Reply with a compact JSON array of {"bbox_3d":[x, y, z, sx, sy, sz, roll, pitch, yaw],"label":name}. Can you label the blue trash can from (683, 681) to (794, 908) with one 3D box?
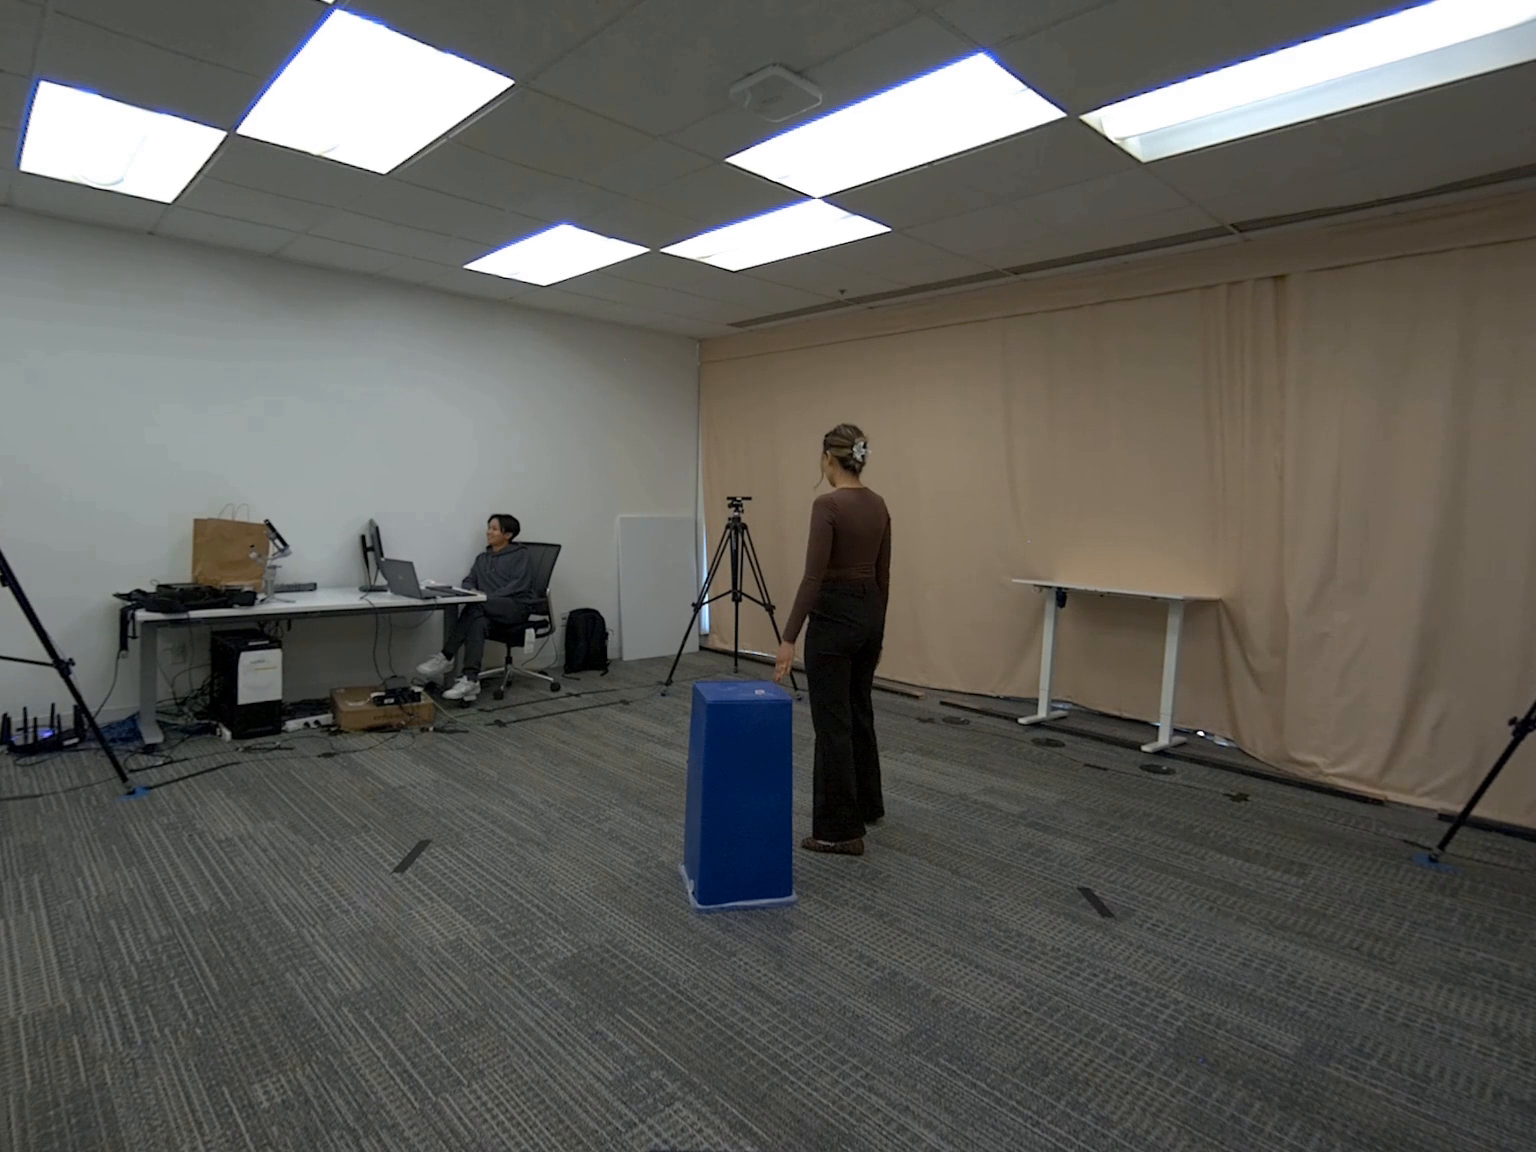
[{"bbox_3d":[-0.106,0.761,3.006,0.370,0.712,0.383,1,3,-14],"label":"blue trash can"}]
